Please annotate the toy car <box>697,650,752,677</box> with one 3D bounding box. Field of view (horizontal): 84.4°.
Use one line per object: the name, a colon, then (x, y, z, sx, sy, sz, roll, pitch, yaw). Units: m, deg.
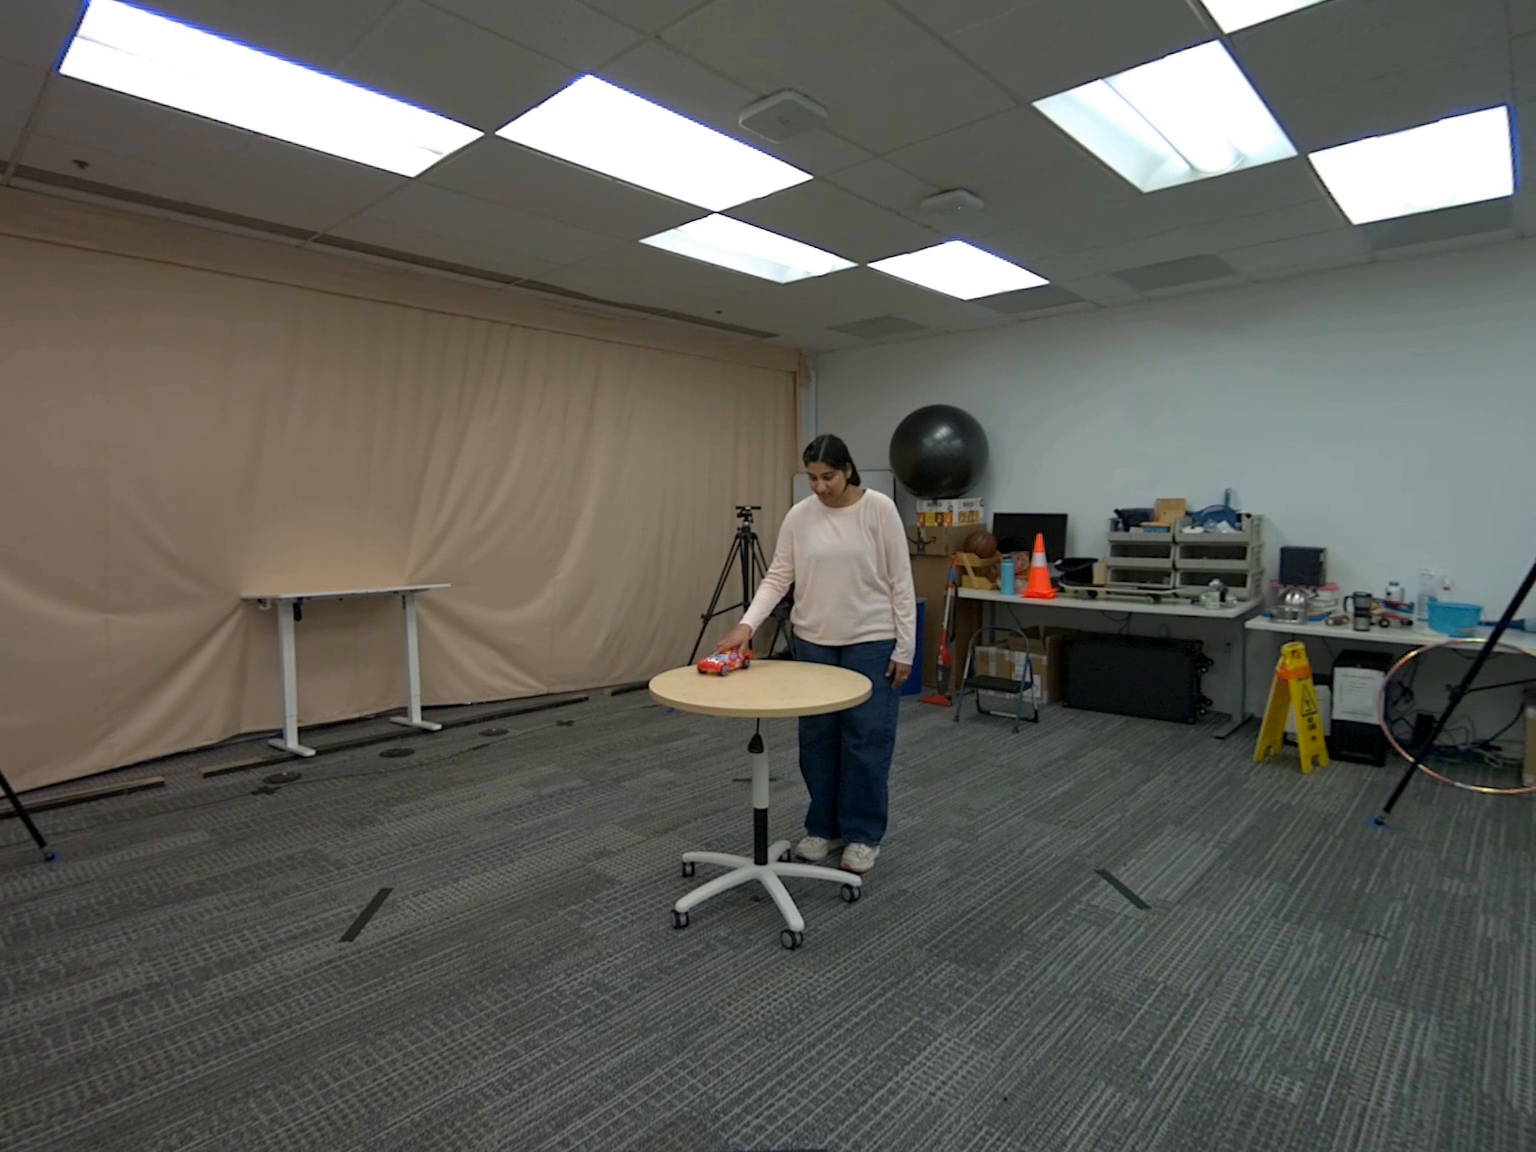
toy car: (-0.150, 0.319, 3.119, 0.134, 0.082, 0.249, 2, 17, 32)
